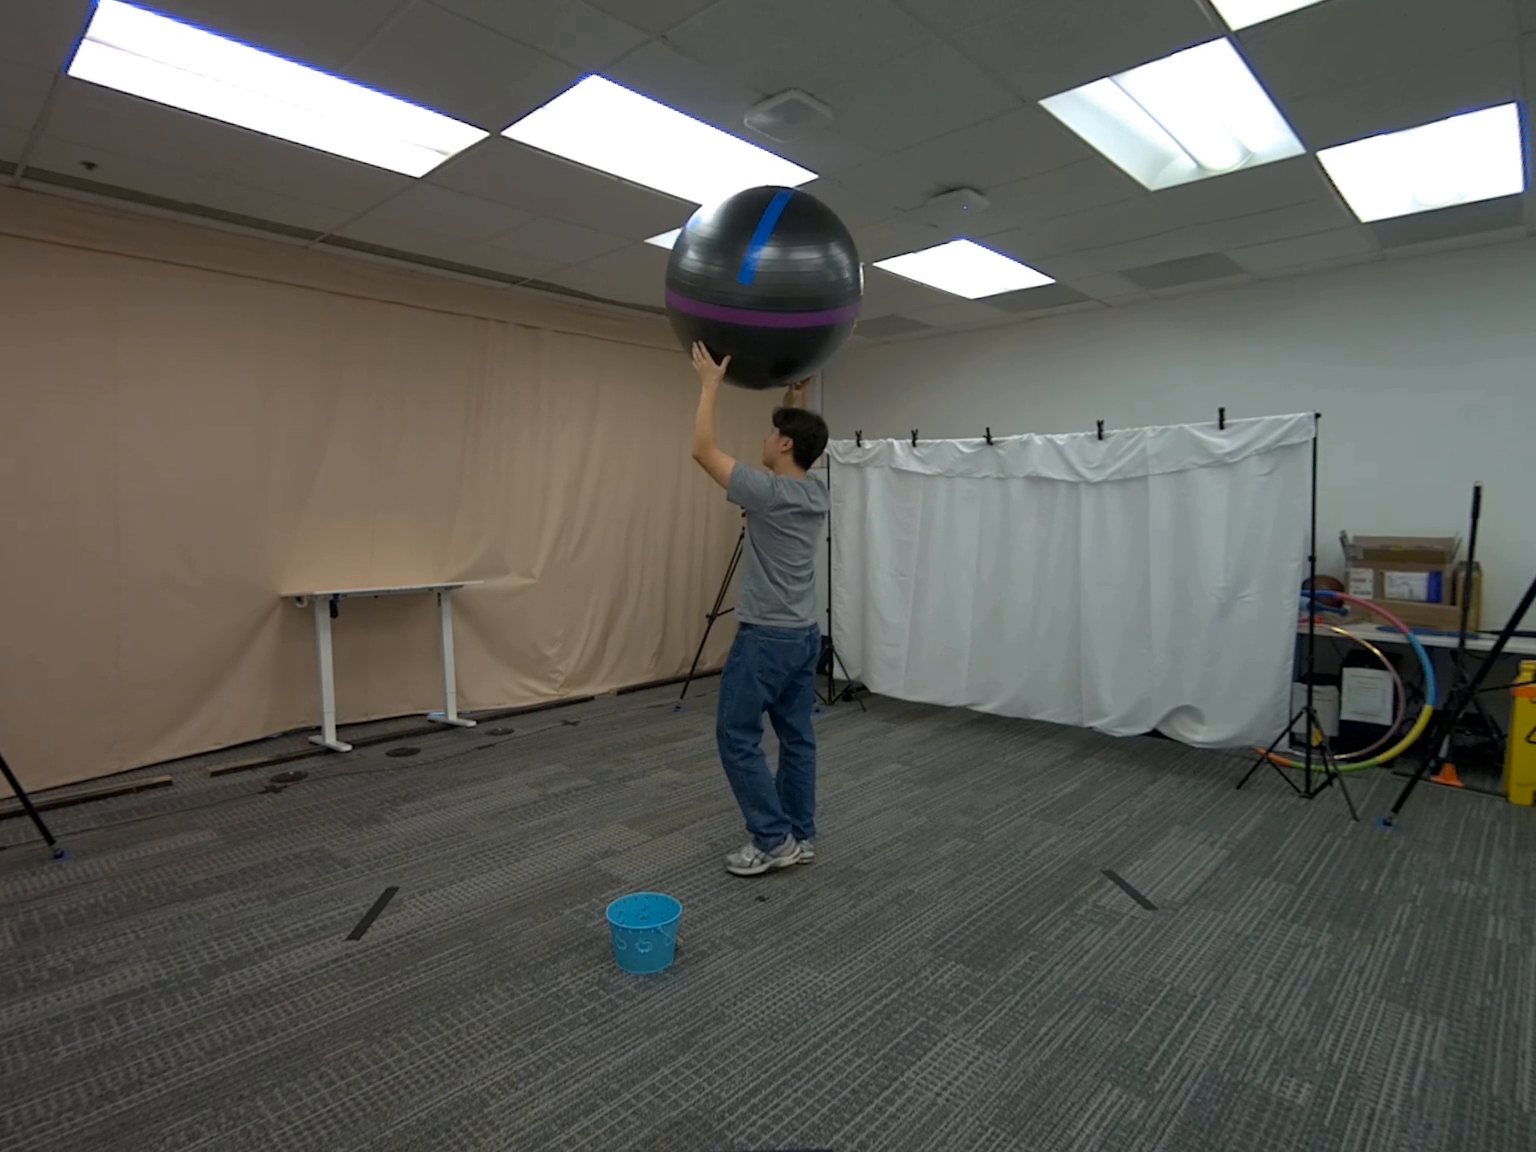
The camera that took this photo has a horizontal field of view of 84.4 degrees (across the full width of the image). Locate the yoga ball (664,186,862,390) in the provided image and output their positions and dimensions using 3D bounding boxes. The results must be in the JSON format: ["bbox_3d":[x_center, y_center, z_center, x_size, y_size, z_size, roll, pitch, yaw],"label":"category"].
[{"bbox_3d":[-0.015,-1.100,3.255,0.757,0.756,0.761,0,4,-2],"label":"yoga ball"}]
